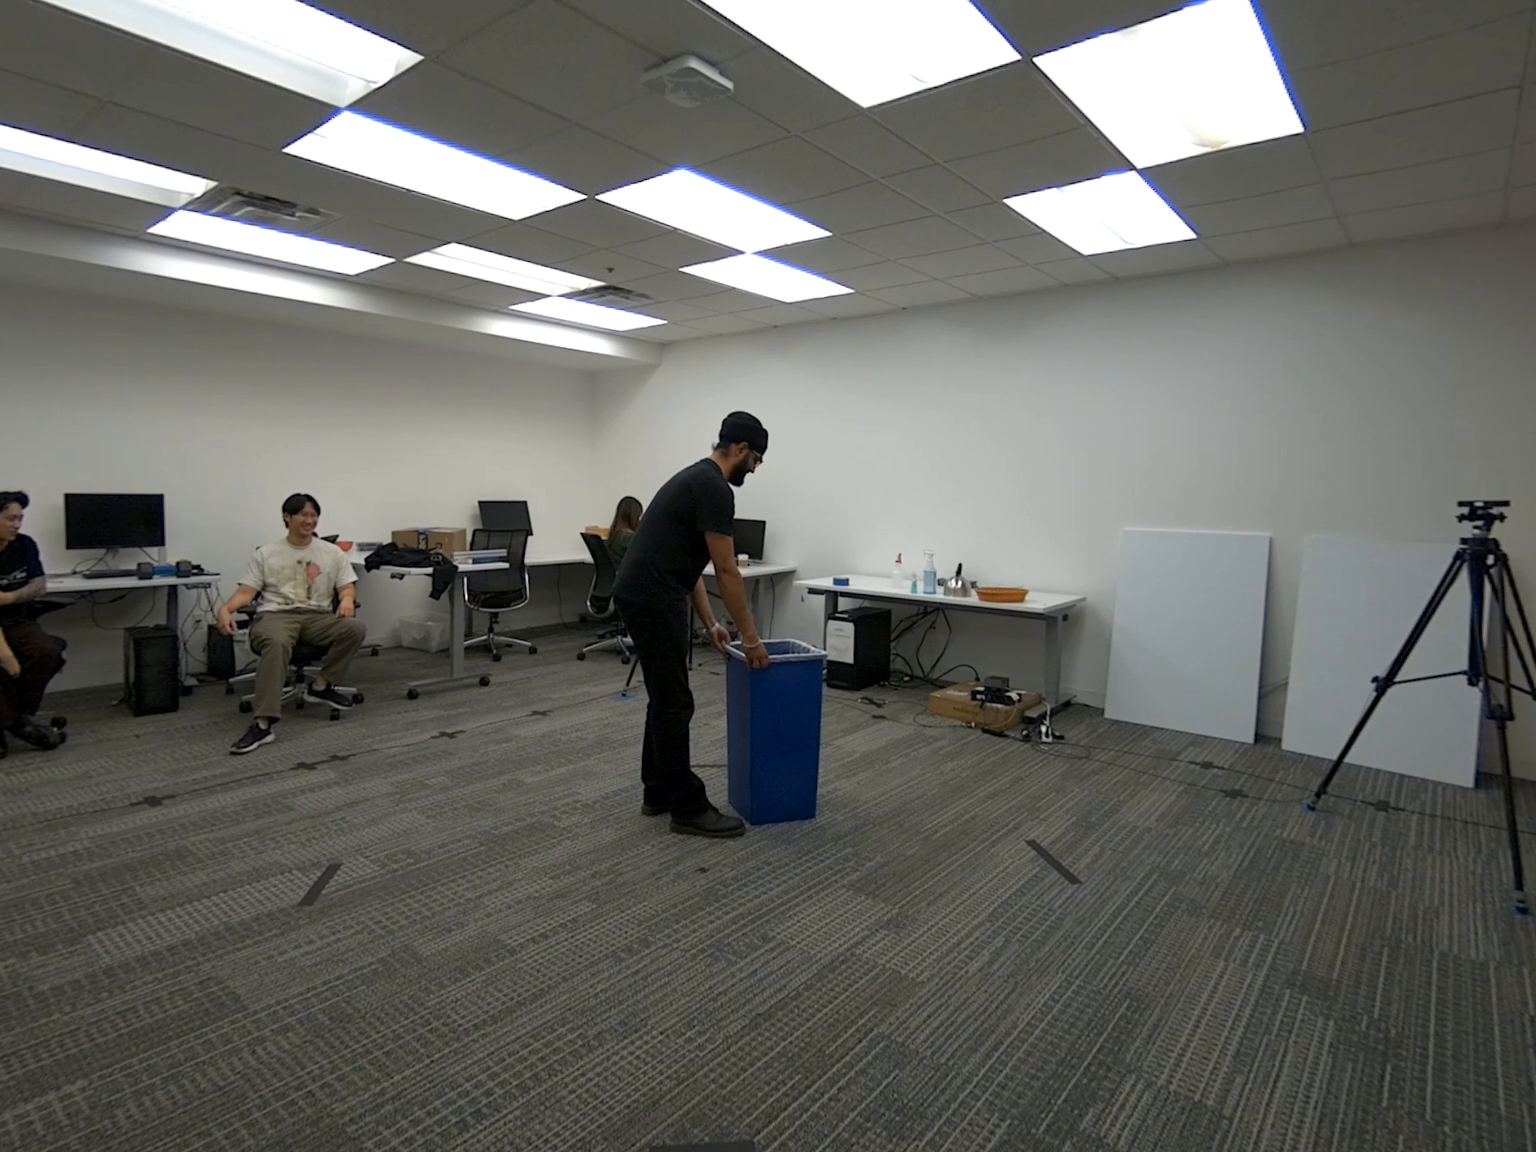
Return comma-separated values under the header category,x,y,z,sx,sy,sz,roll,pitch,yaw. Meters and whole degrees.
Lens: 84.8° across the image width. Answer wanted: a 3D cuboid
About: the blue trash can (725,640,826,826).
category,x,y,z,sx,sy,sz,roll,pitch,yaw
blue trash can,0.004,0.668,3.706,0.366,0.711,0.387,0,3,-22
